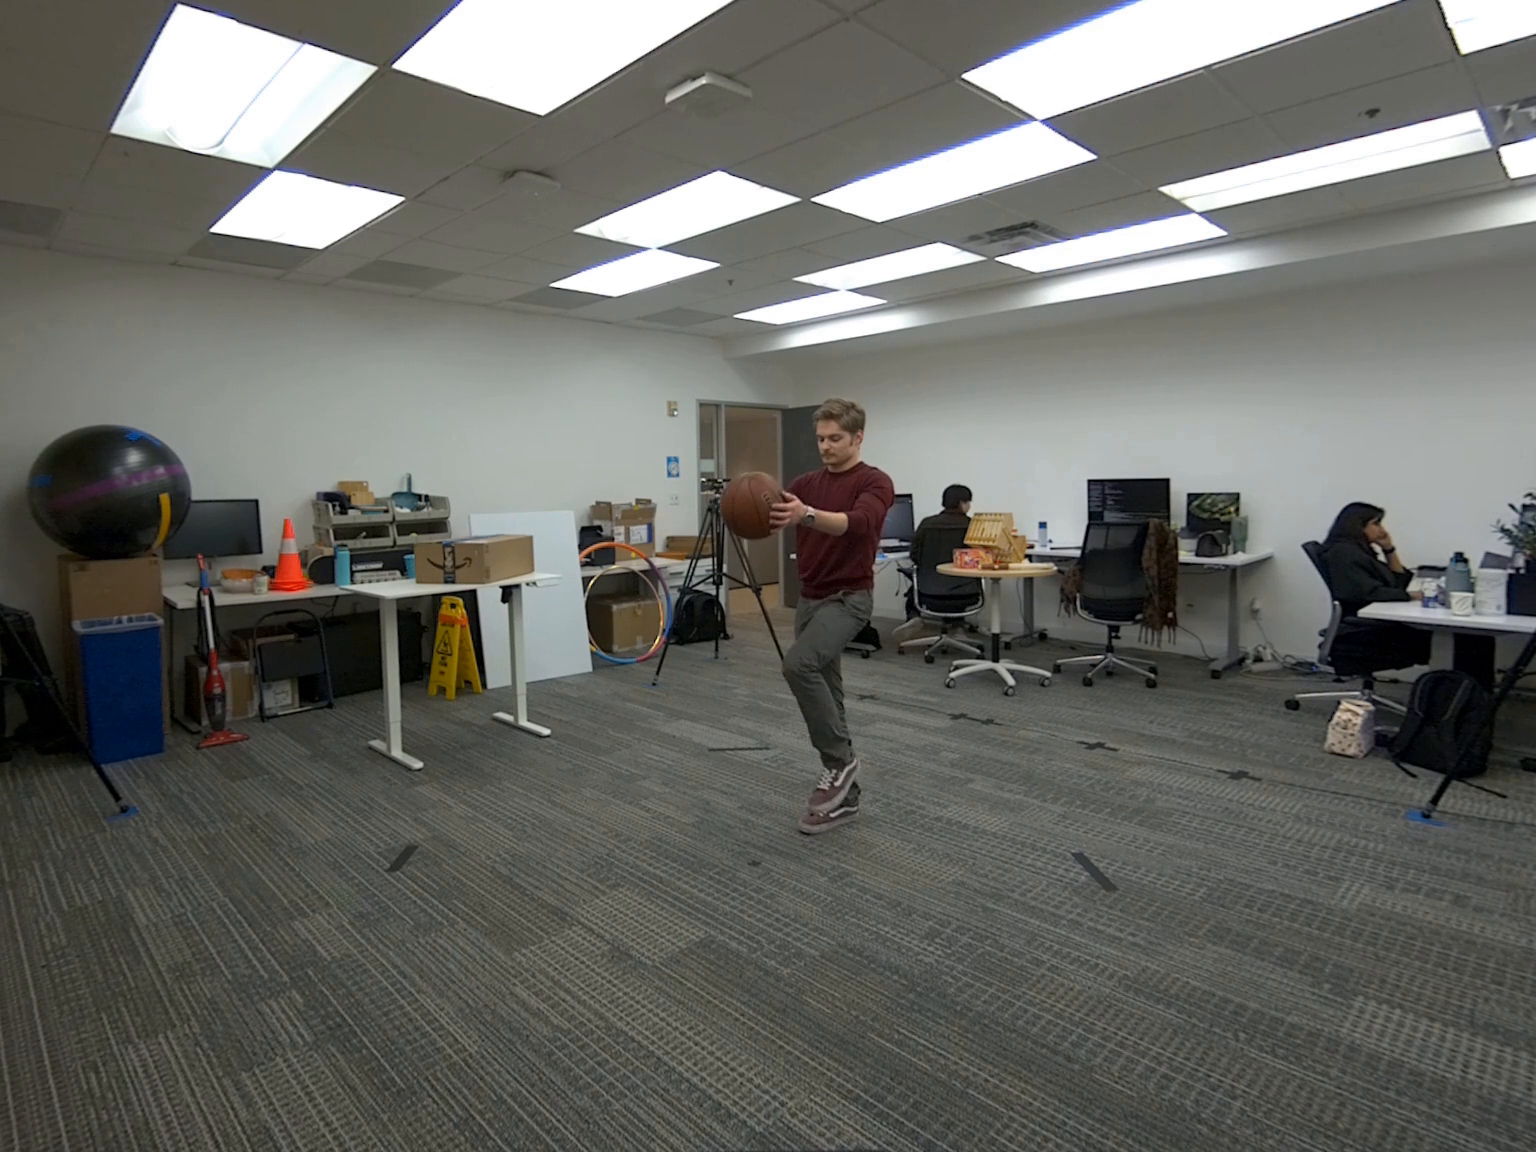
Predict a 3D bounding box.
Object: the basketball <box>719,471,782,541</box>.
[{"bbox_3d":[-0.052,-0.244,2.991,0.236,0.235,0.237,-1,5,-2],"label":"basketball"}]
